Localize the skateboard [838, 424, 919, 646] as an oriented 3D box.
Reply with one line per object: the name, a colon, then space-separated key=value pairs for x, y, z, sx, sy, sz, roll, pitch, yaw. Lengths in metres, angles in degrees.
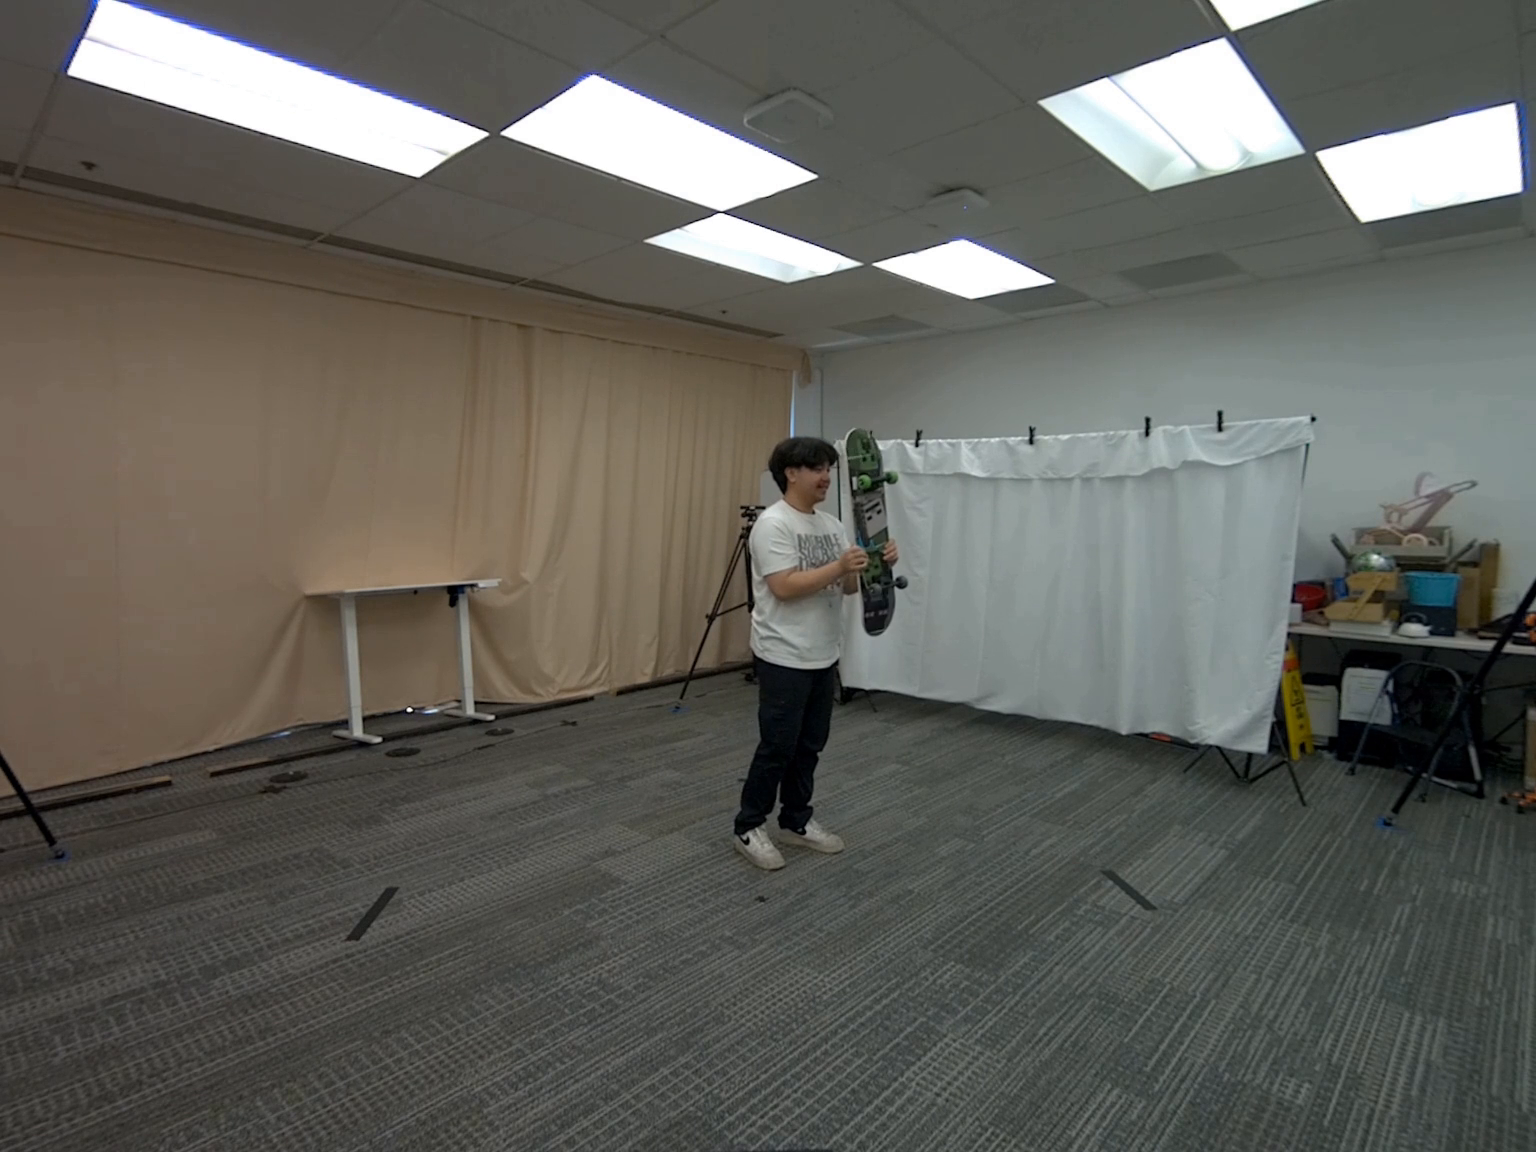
skateboard: x=0.410 y=-0.154 z=3.135 sx=0.188 sy=0.781 sz=0.114 roll=-13 pitch=9 yaw=-39
